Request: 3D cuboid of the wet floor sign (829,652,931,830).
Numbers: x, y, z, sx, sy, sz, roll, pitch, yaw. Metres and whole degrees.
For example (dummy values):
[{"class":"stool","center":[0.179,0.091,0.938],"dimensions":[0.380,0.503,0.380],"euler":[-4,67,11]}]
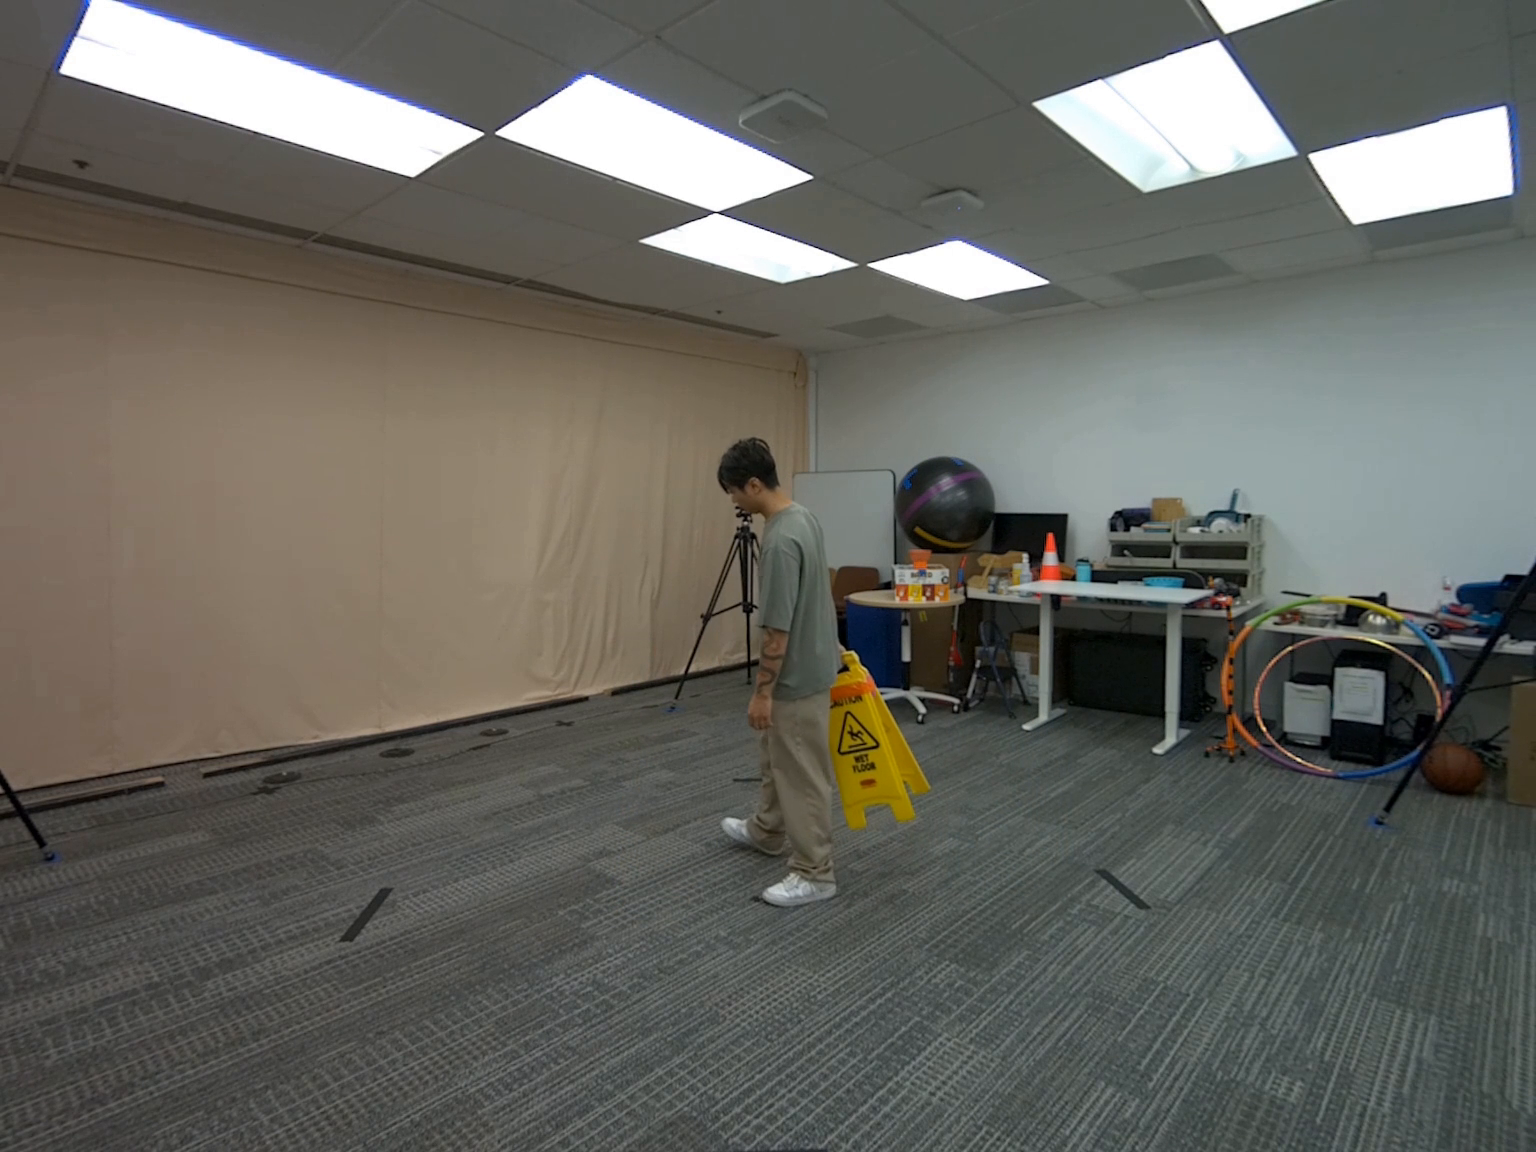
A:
[{"class":"wet floor sign","center":[0.365,0.623,3.320],"dimensions":[0.288,0.645,0.284],"euler":[-21,1,29]}]
